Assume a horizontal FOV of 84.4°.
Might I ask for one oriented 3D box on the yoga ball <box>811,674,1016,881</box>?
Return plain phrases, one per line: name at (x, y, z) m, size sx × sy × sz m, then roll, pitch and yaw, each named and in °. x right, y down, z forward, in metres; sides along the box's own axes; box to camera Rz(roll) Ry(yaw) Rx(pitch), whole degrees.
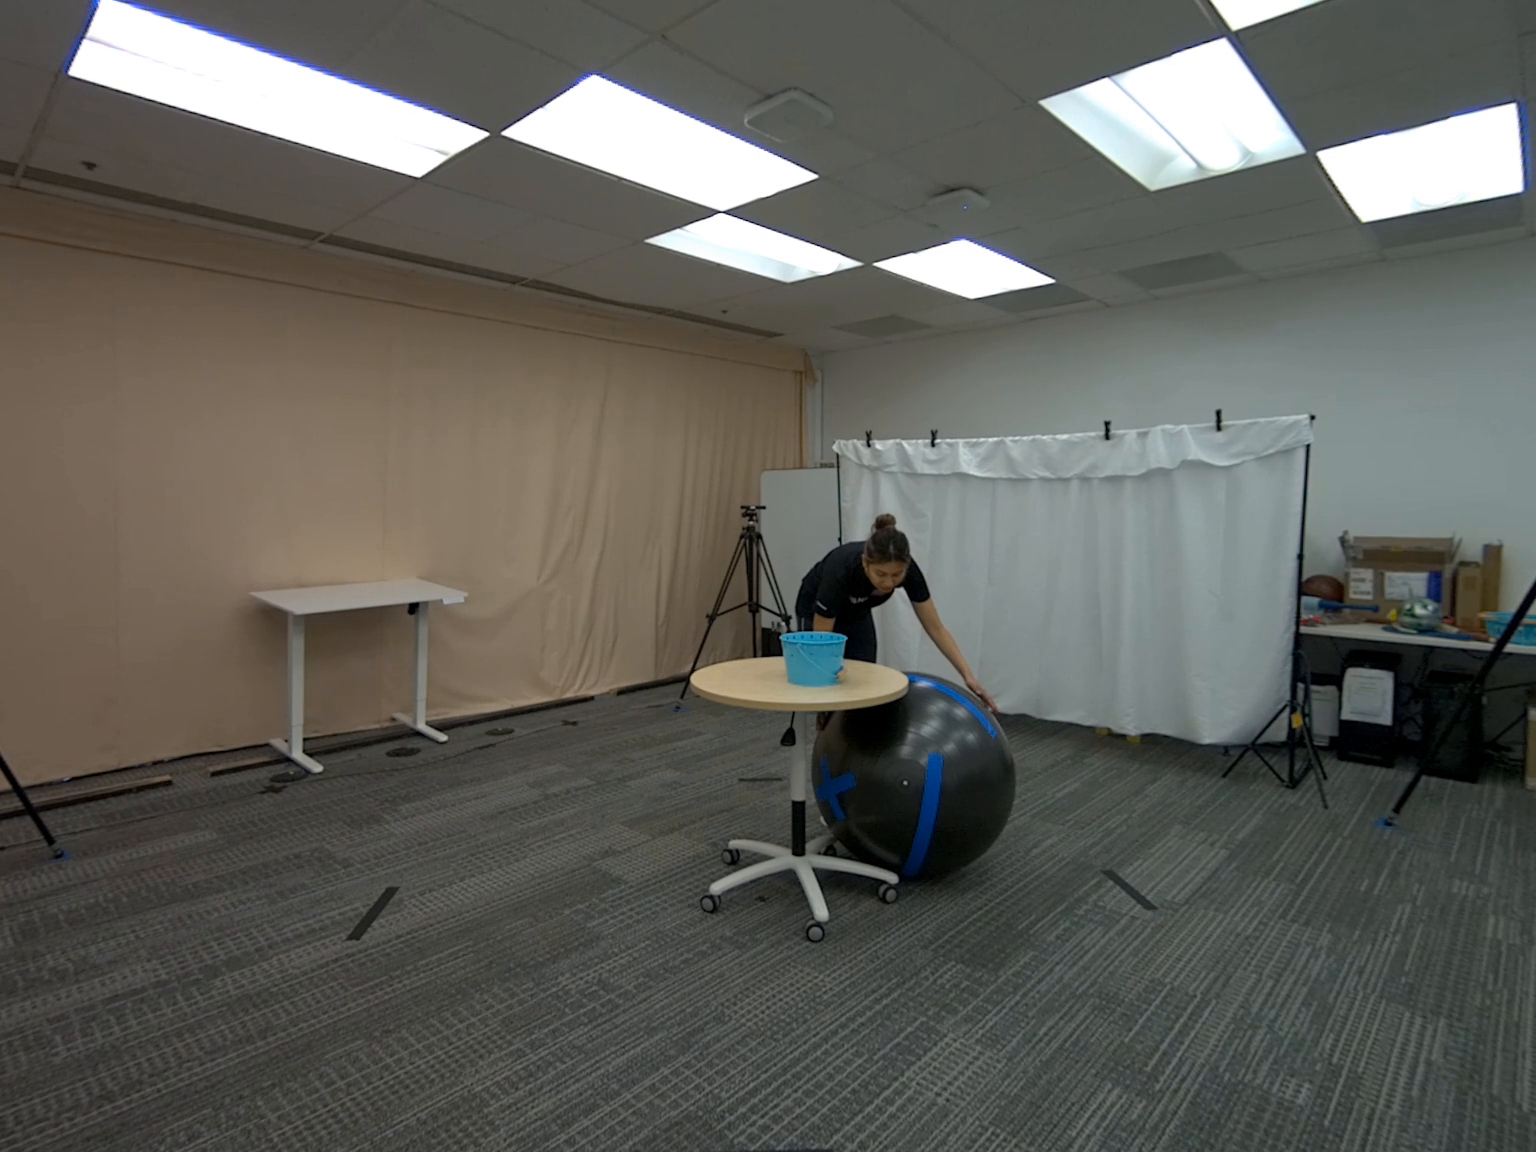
yoga ball at (0.557, 0.759, 3.226) m, size 0.757 × 0.756 × 0.761 m, roll 0°, pitch 4°, yaw -2°
